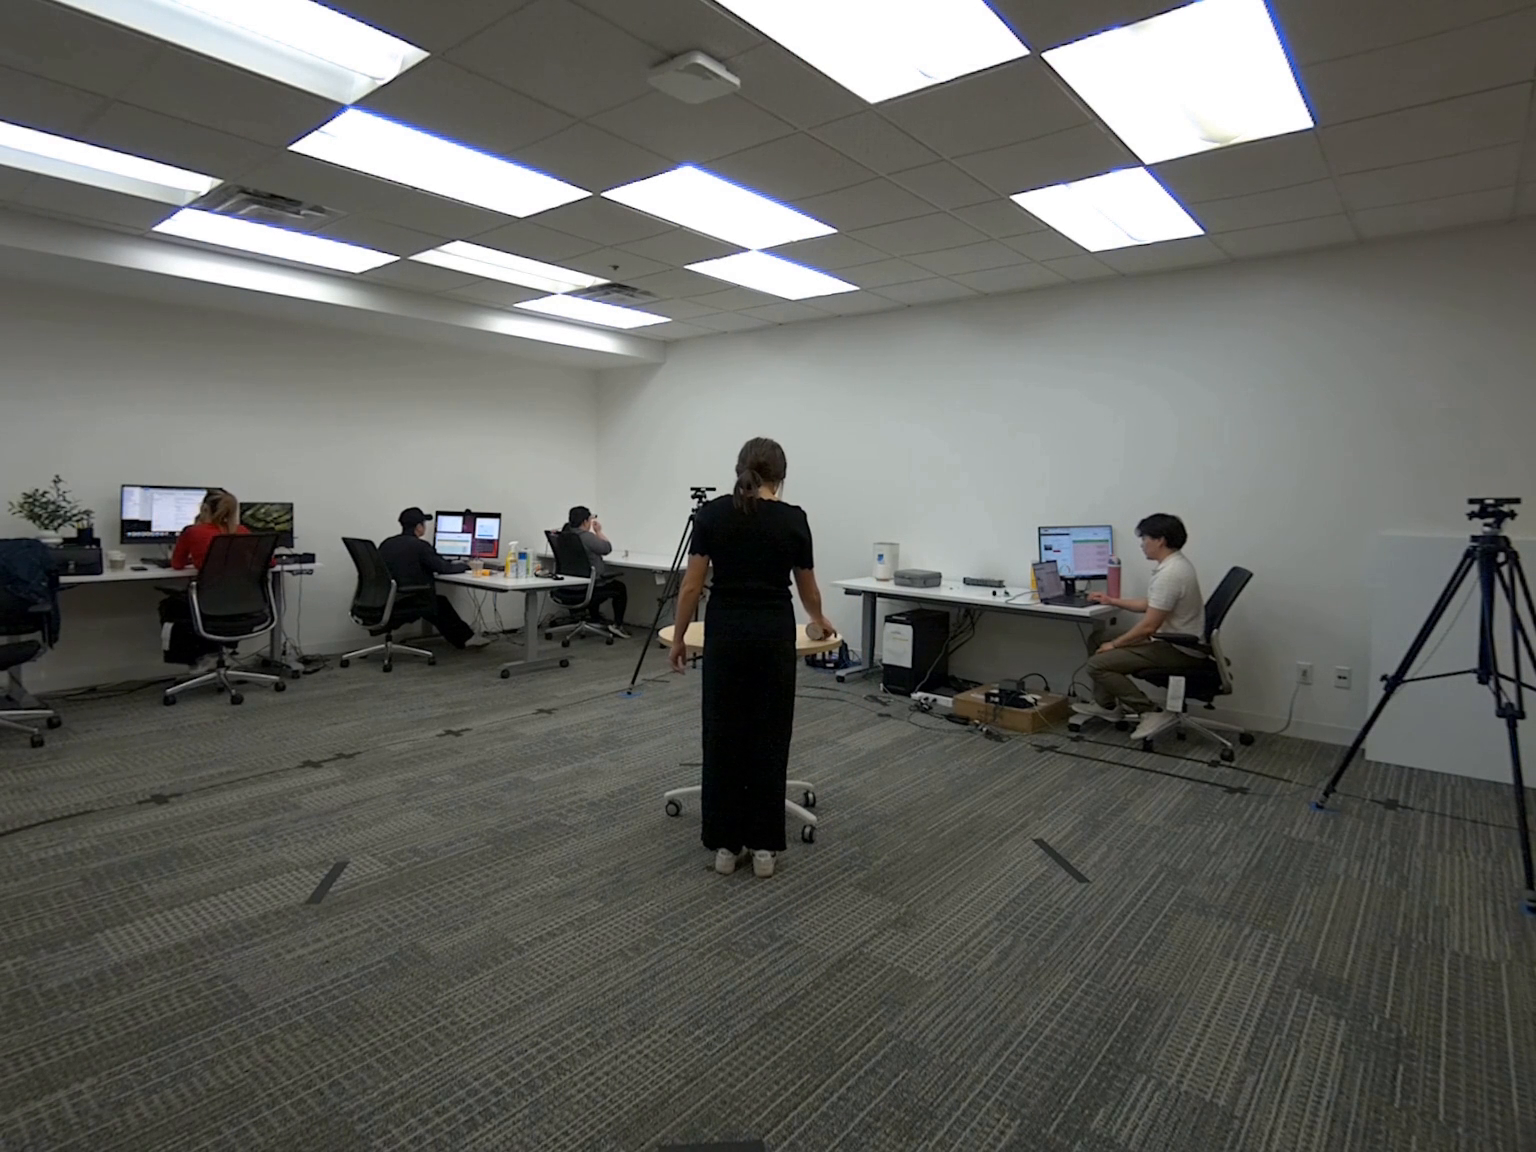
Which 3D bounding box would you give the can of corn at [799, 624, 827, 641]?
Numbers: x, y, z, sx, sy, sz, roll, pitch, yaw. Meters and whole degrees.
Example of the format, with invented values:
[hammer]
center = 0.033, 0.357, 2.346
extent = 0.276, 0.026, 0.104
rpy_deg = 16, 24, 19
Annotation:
[can of corn]
center = 0.191, 0.212, 3.483
extent = 0.075, 0.074, 0.110
rpy_deg = 2, 6, 14
